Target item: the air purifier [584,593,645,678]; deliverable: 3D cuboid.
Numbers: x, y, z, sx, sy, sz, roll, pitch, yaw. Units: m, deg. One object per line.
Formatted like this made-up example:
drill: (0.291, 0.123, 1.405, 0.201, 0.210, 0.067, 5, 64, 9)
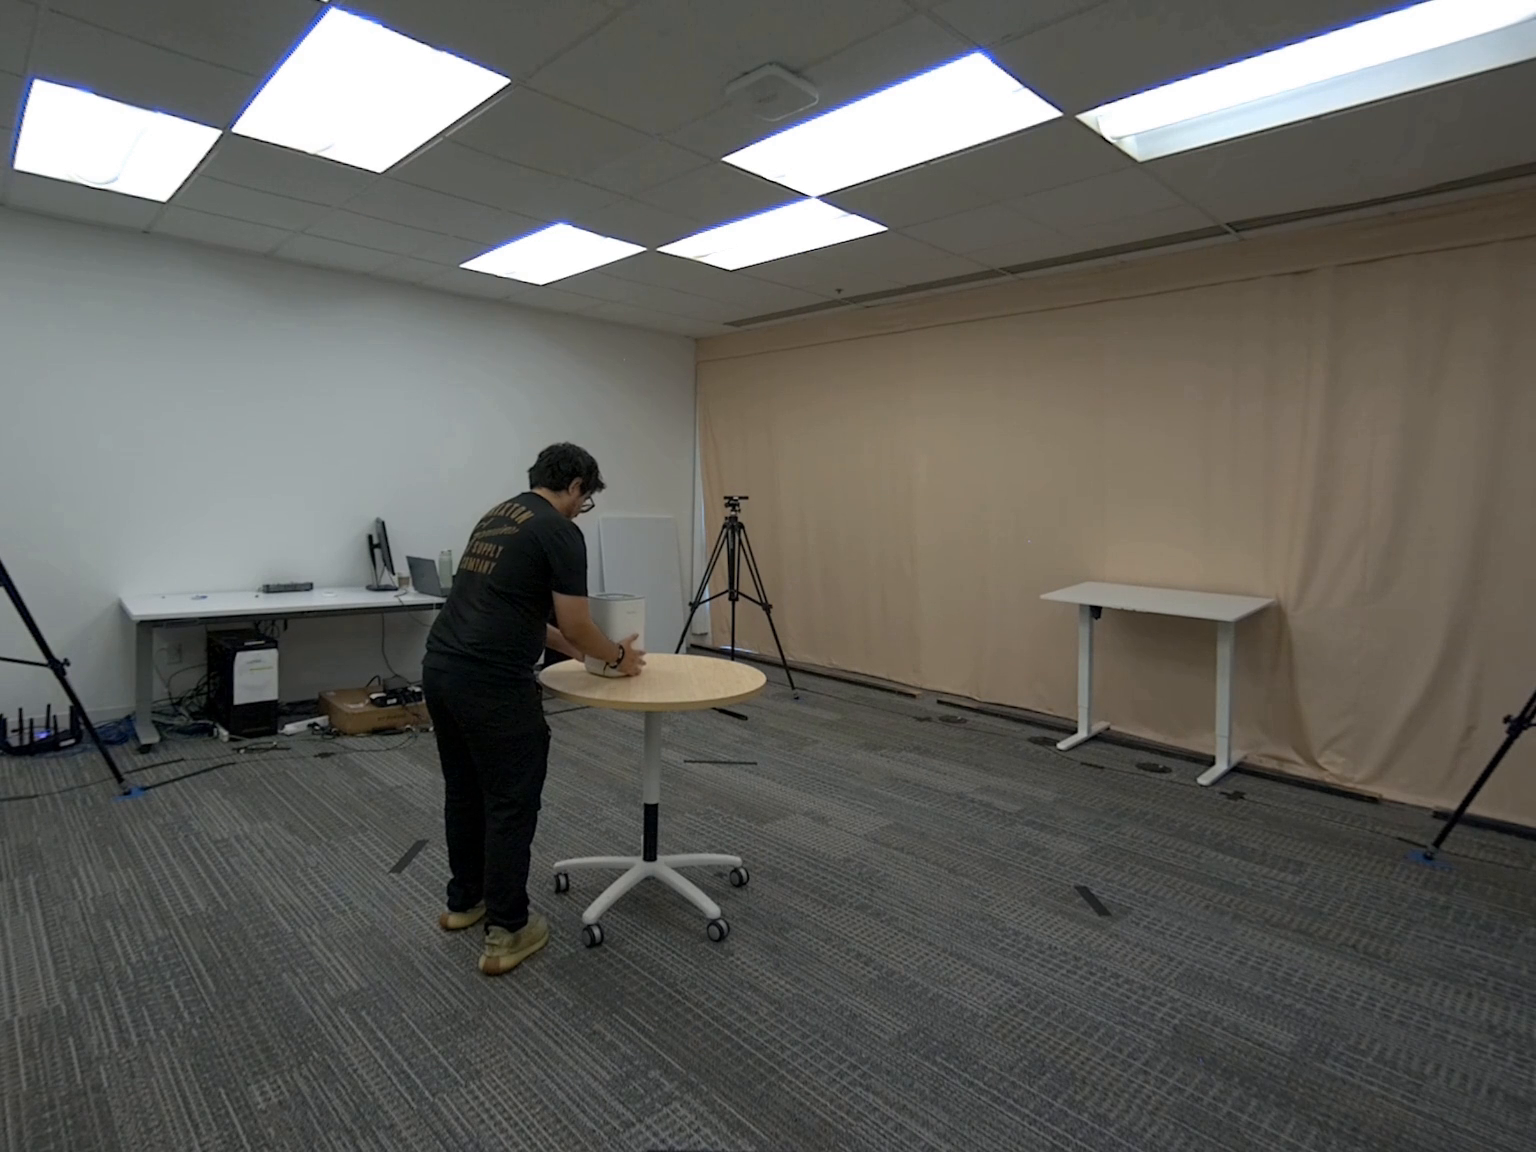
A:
air purifier: (-0.528, 0.200, 2.868, 0.176, 0.265, 0.167, 4, 4, 40)
